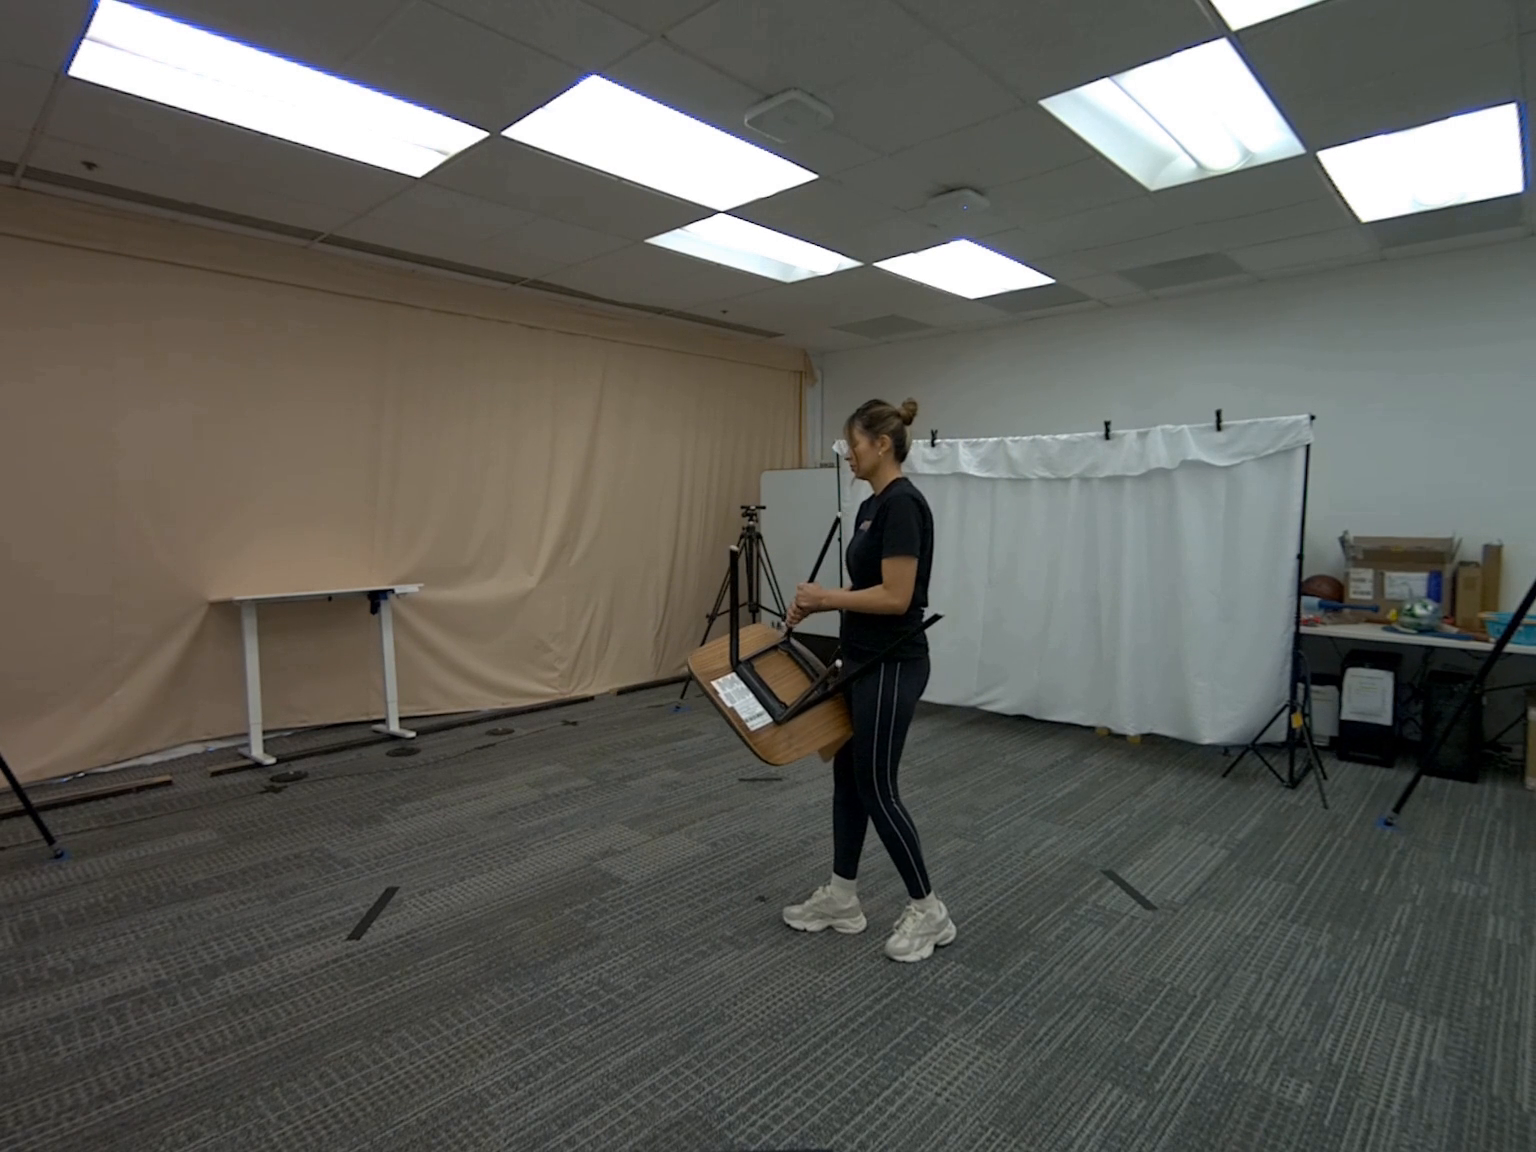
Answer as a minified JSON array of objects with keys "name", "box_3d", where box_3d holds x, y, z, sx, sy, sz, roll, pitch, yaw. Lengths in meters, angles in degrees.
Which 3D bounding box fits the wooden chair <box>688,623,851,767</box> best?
[{"name":"wooden chair","box_3d":[0.045,0.319,2.605,0.511,0.873,0.491,-21,59,-37]}]
